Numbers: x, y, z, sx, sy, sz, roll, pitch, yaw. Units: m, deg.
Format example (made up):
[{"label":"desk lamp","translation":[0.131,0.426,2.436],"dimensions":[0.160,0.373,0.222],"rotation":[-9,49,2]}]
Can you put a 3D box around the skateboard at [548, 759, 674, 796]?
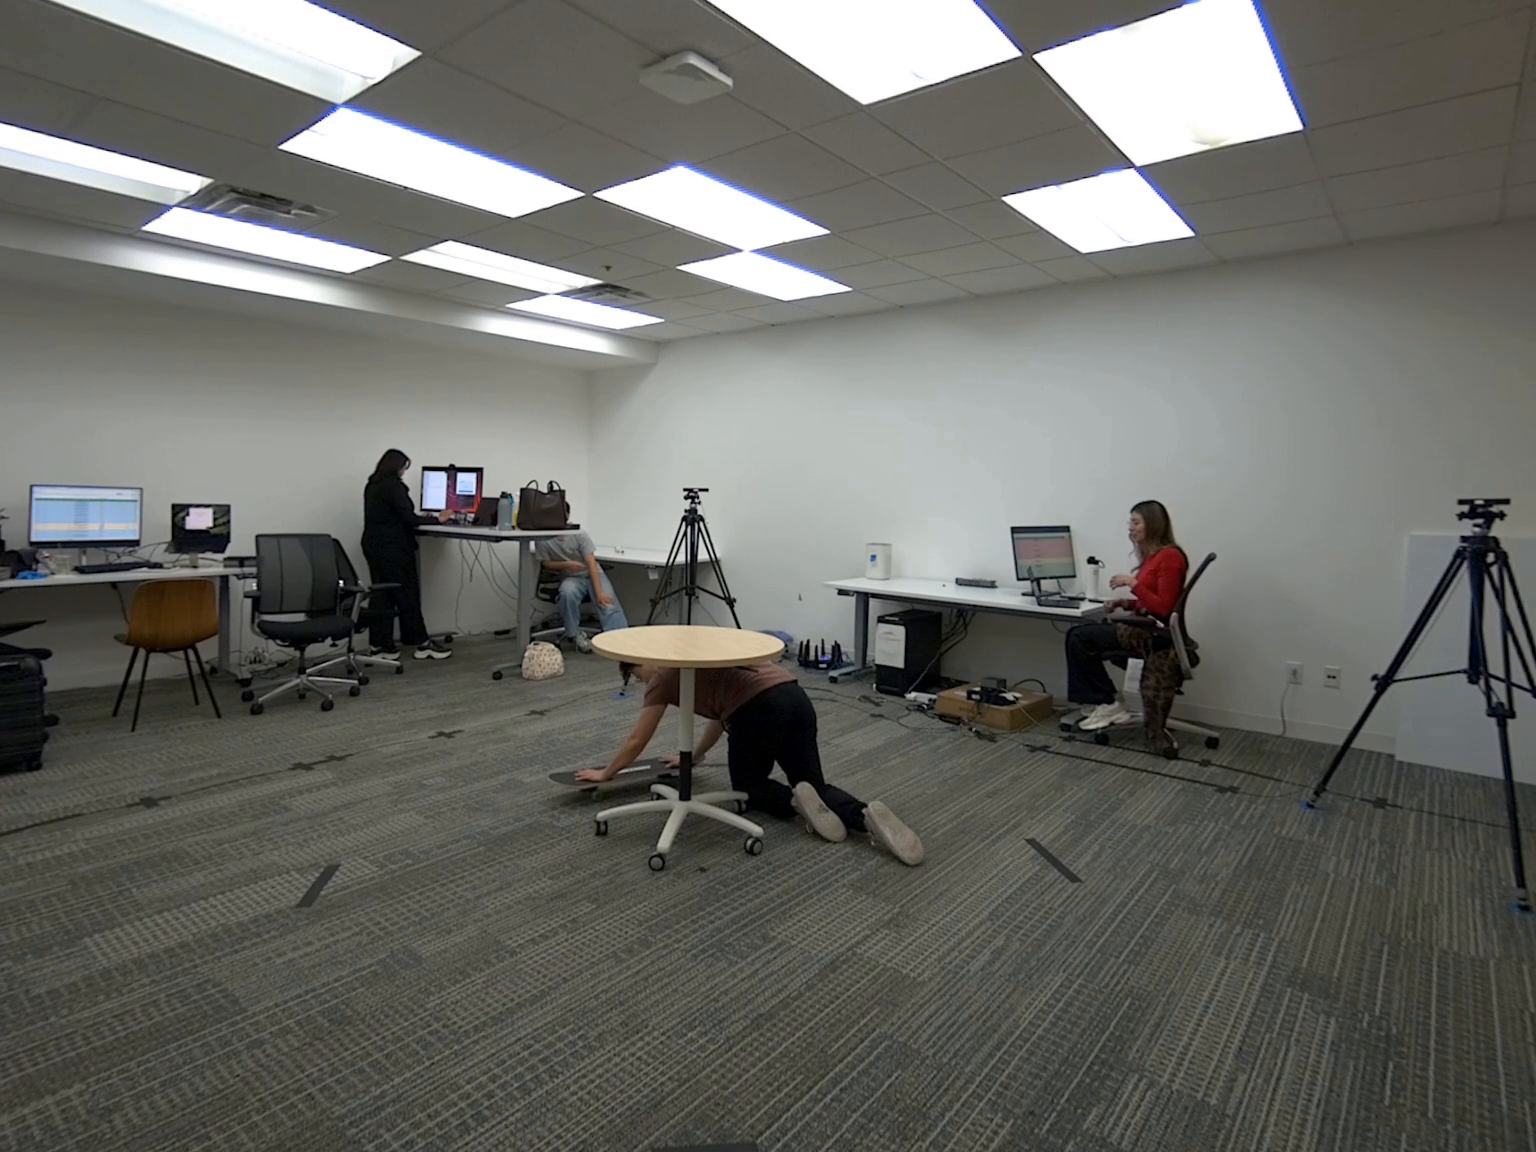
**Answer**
[{"label":"skateboard","translation":[-0.657,0.922,3.946],"dimensions":[0.764,0.110,0.200],"rotation":[-3,7,-31]}]
